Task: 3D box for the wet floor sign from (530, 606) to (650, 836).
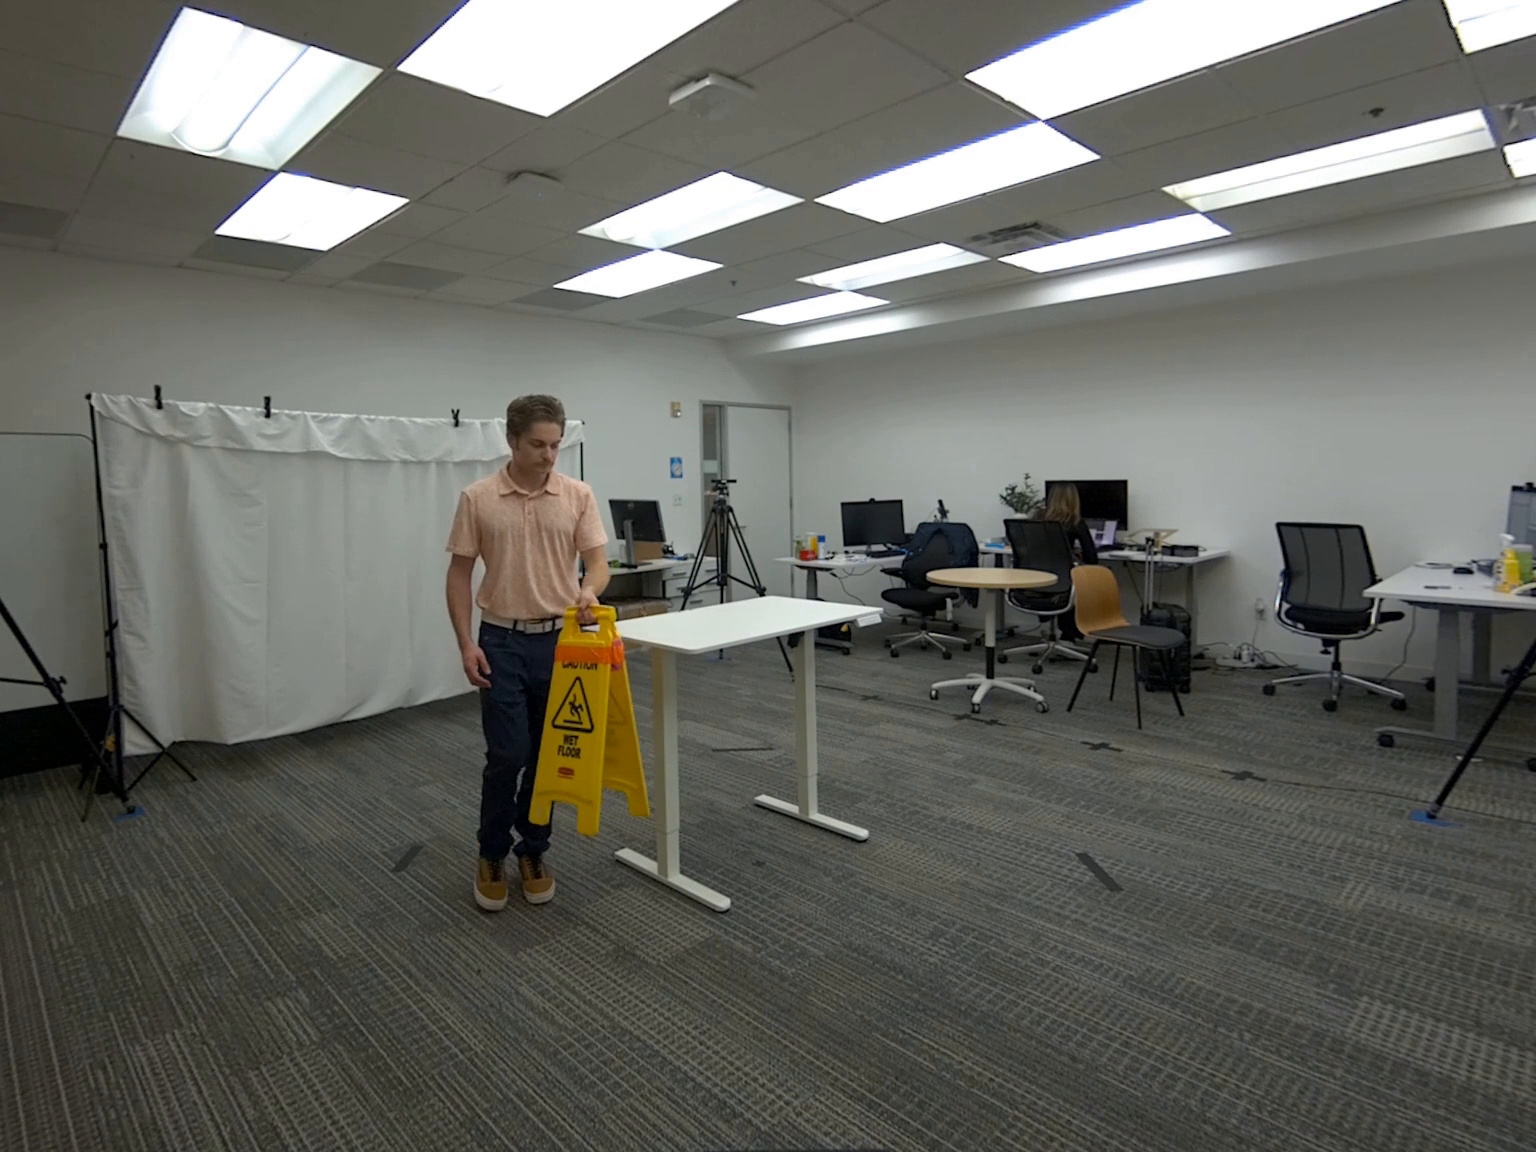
[{"bbox_3d":[-0.543,0.422,2.621,0.289,0.648,0.282,-4,-3,33],"label":"wet floor sign"}]
